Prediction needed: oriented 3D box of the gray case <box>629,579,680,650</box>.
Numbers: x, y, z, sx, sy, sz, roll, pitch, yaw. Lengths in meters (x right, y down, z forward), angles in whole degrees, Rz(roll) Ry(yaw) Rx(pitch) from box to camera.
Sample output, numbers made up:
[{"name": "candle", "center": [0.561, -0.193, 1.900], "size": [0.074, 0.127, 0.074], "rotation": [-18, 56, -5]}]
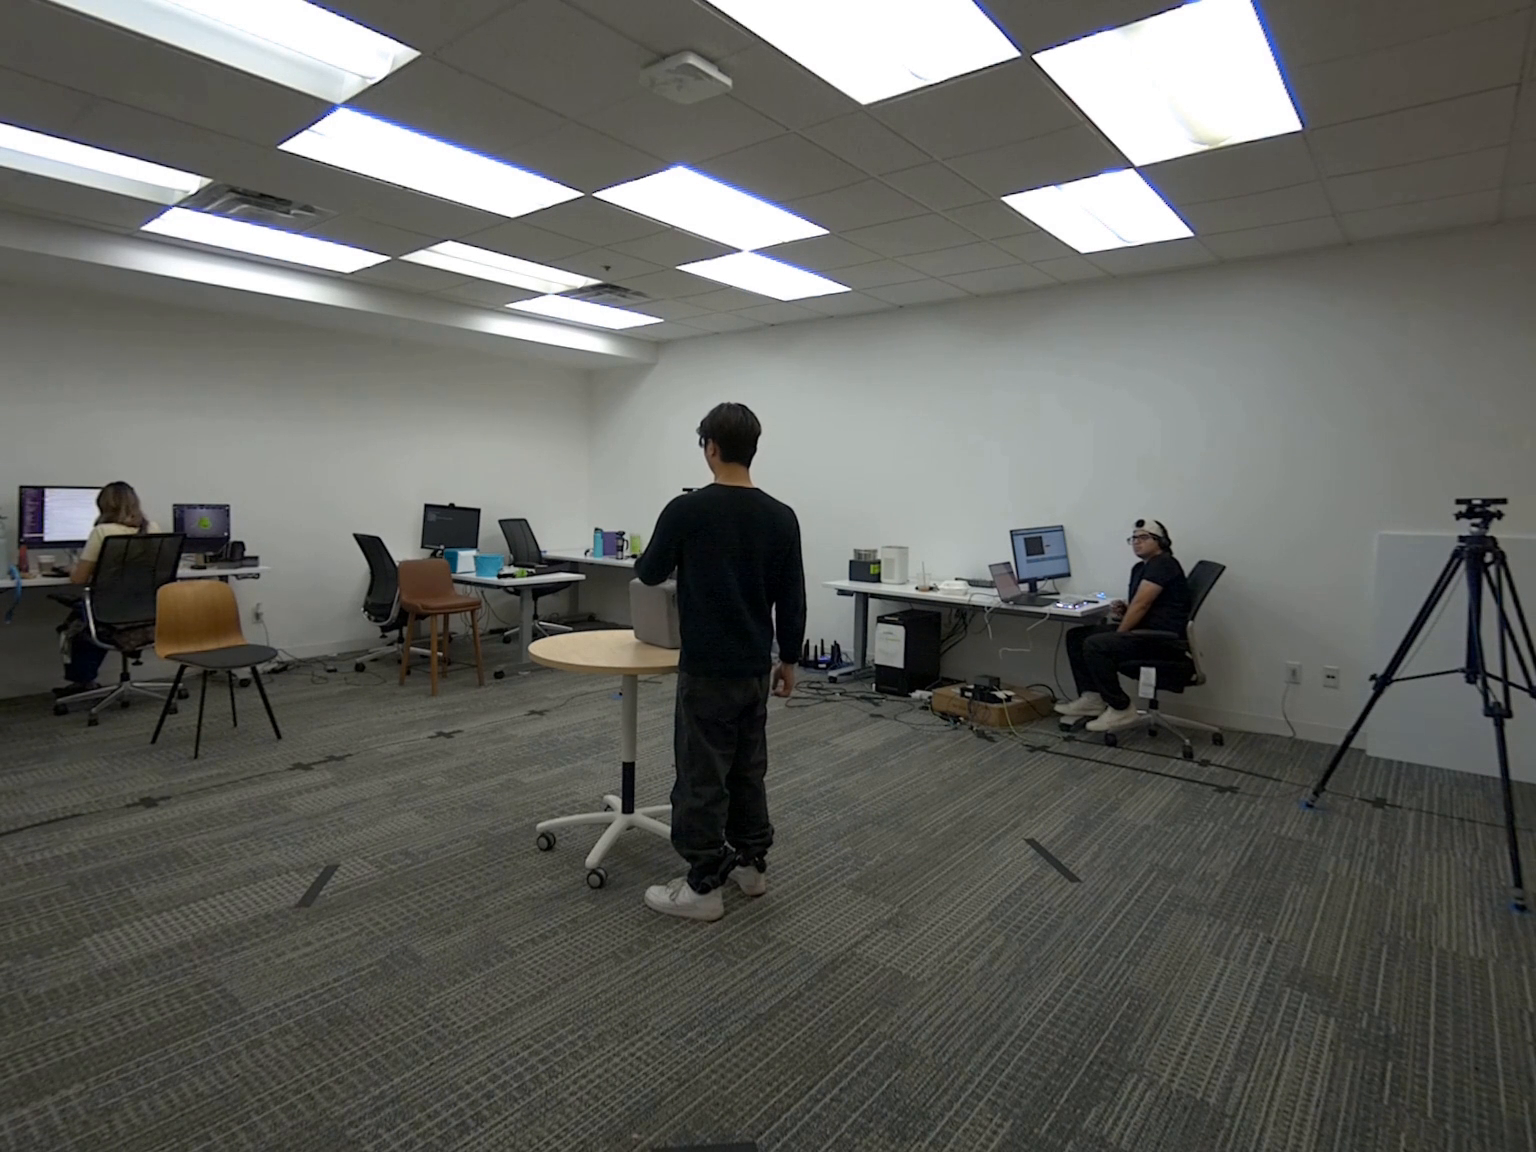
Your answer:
[{"name": "gray case", "center": [-0.429, 0.133, 3.283], "size": [0.102, 0.258, 0.266], "rotation": [-12, 13, -42]}]
